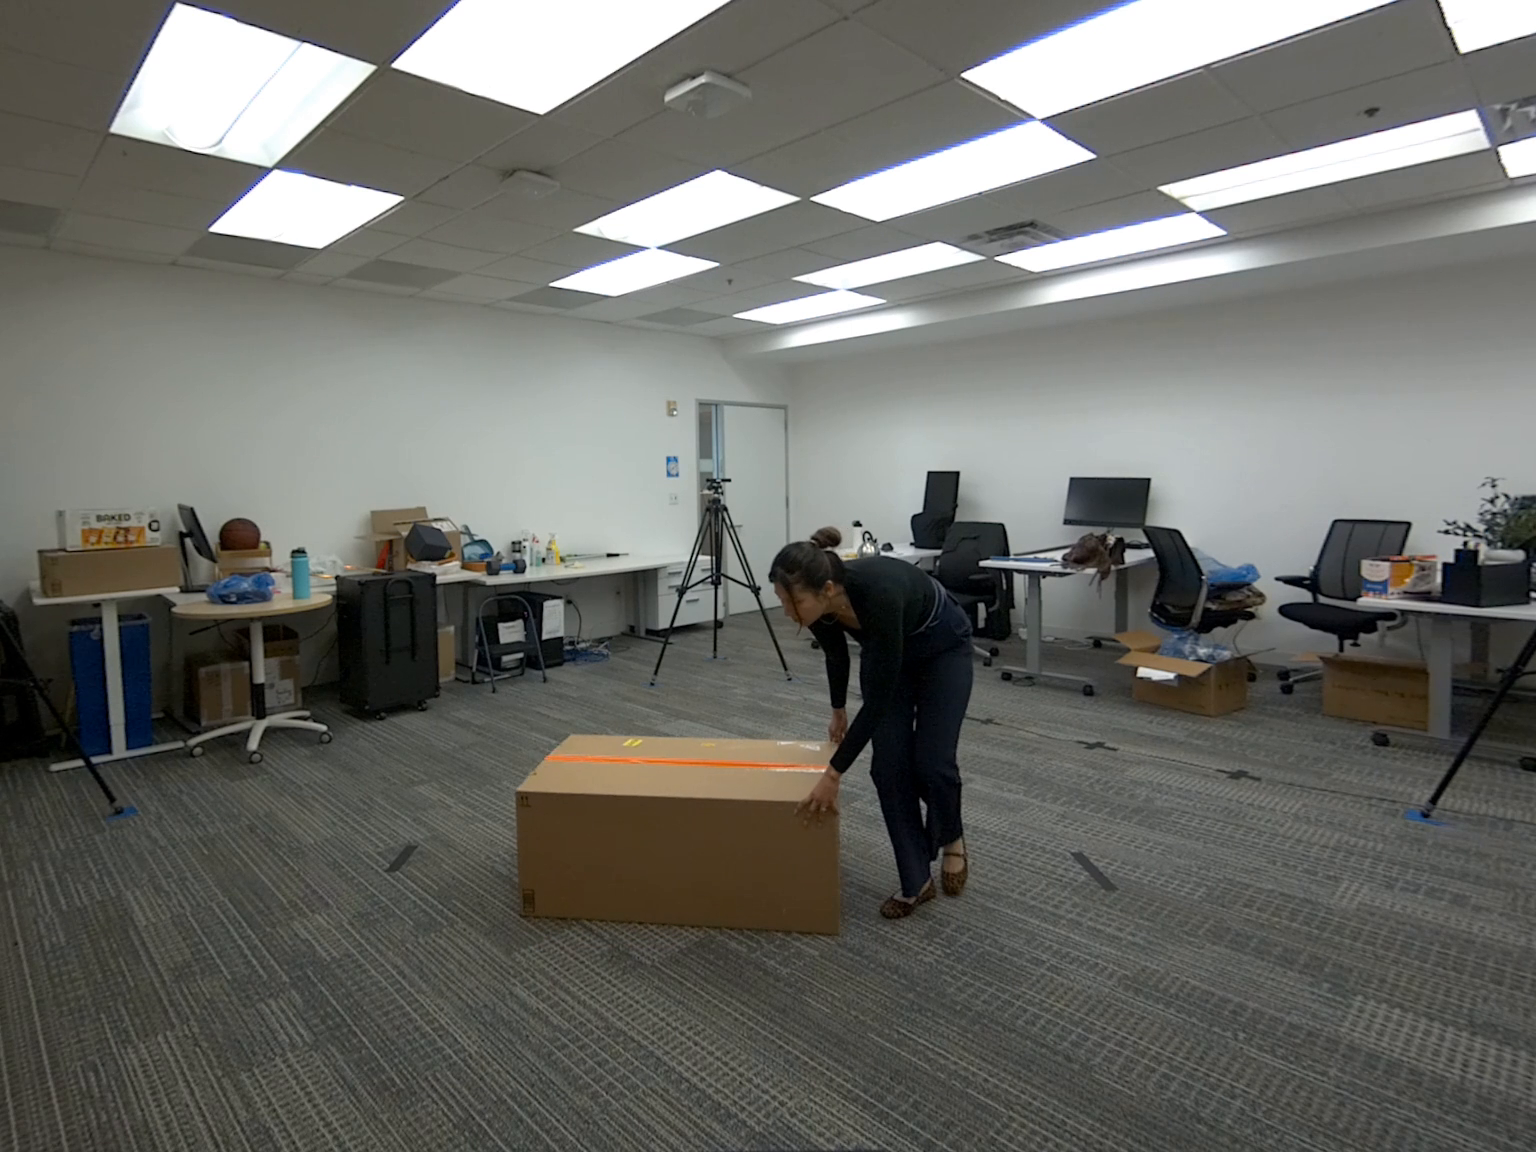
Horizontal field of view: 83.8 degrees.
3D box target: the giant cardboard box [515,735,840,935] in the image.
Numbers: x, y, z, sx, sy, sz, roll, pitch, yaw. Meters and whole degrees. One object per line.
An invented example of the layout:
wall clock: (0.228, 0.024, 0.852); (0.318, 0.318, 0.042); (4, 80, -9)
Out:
giant cardboard box: (-0.272, 0.850, 2.944); (1.034, 0.424, 0.576); (0, 6, 7)
